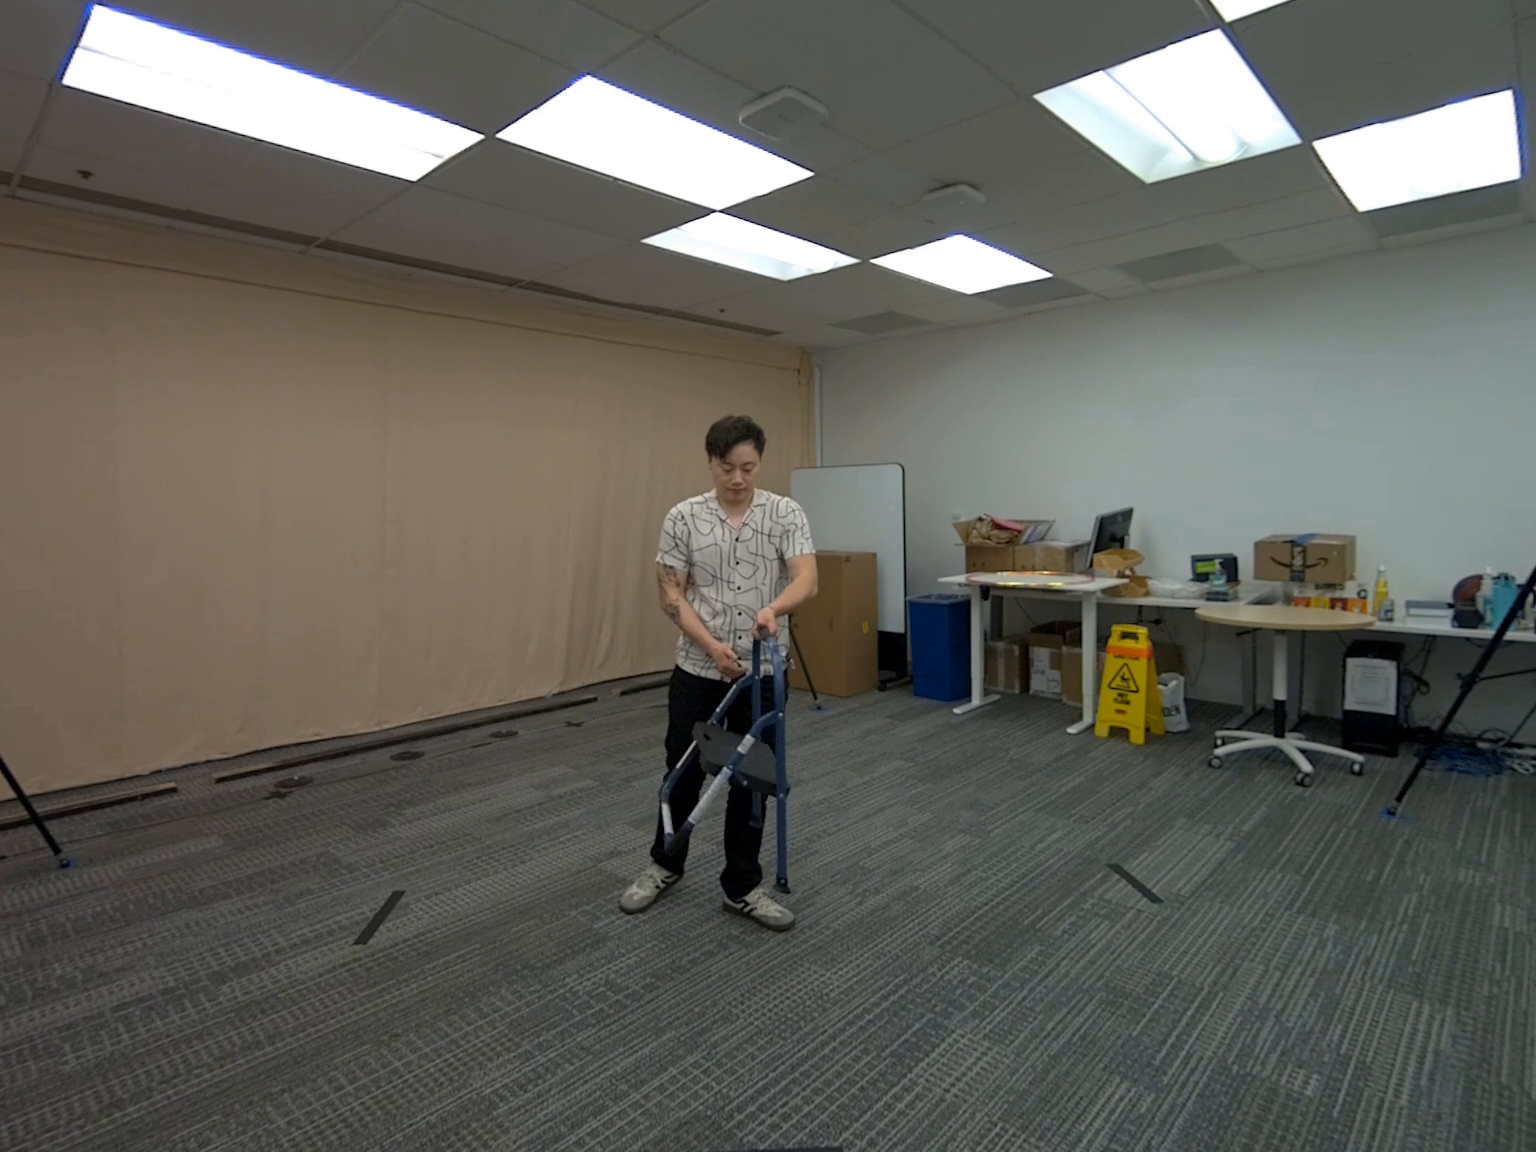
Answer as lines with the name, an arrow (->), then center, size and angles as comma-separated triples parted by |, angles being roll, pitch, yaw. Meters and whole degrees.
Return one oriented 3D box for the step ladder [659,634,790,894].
step ladder -> -0.035, 0.468, 2.372 | 0.345, 0.605, 0.436 | 20, 2, -11
